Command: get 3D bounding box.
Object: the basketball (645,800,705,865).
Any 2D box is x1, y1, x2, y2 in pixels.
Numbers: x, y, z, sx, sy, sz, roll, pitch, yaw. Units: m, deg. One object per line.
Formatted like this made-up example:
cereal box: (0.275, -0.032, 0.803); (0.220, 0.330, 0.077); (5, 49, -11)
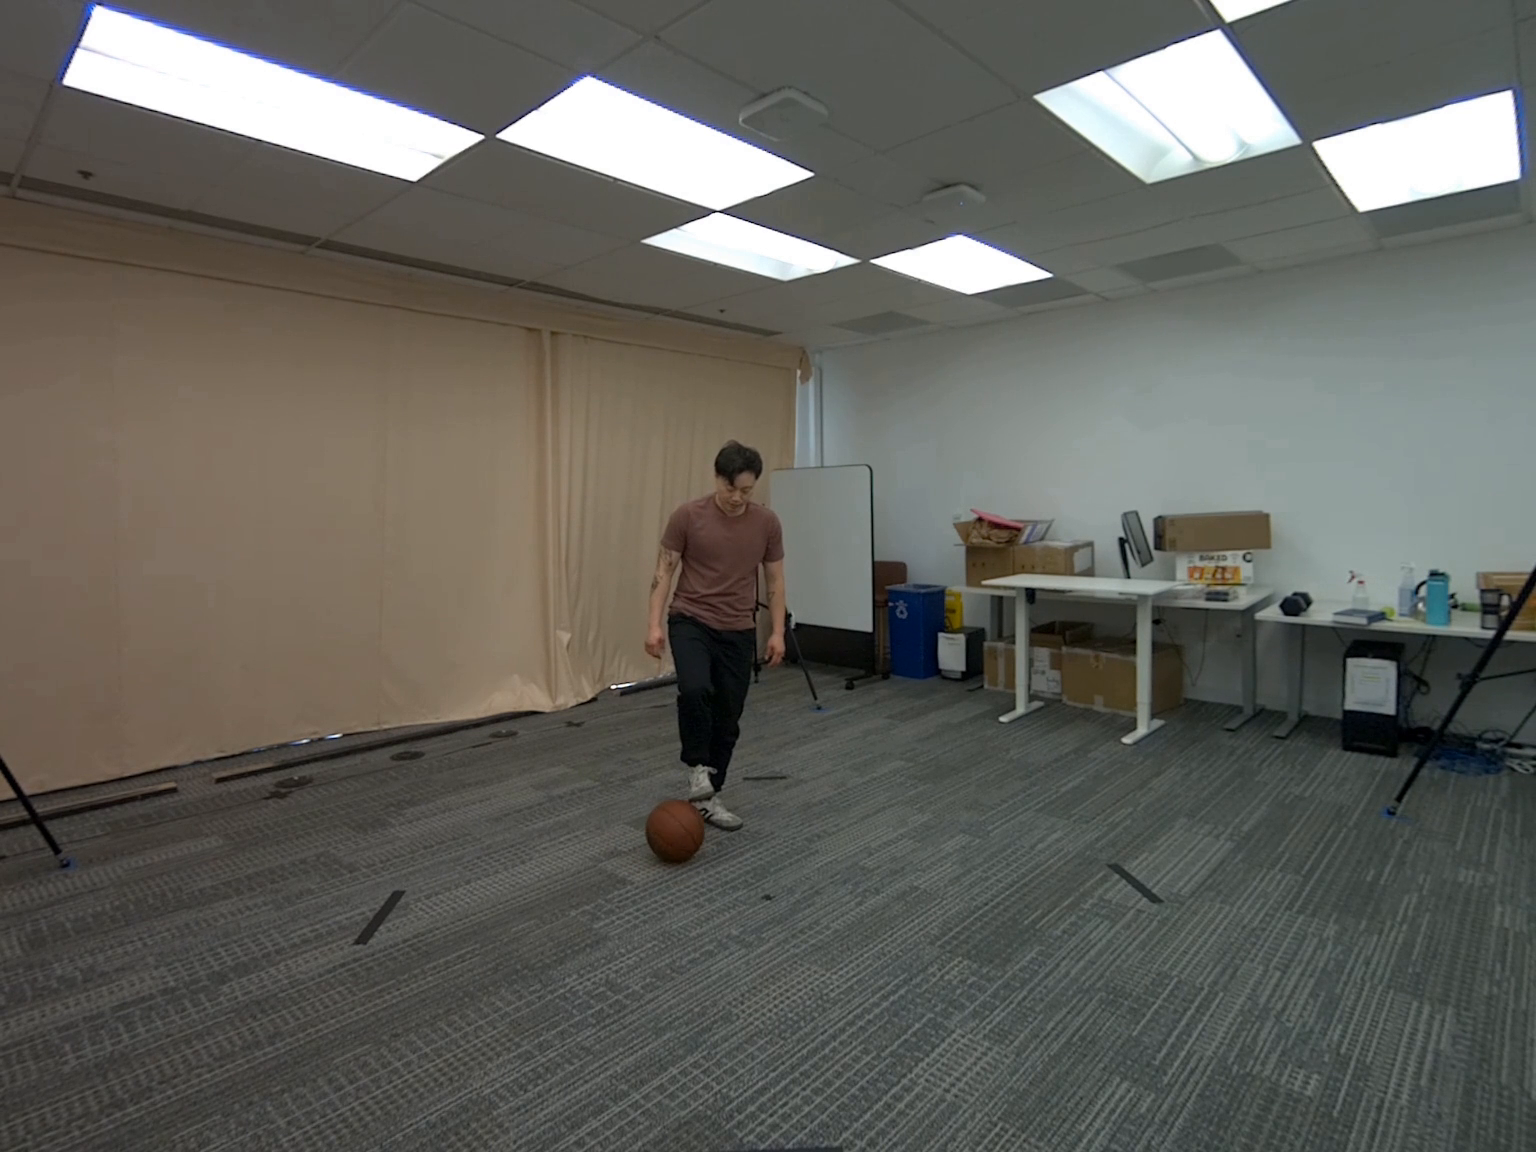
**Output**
basketball: (-0.371, 0.997, 3.318); (0.236, 0.235, 0.237); (-1, 4, -2)
